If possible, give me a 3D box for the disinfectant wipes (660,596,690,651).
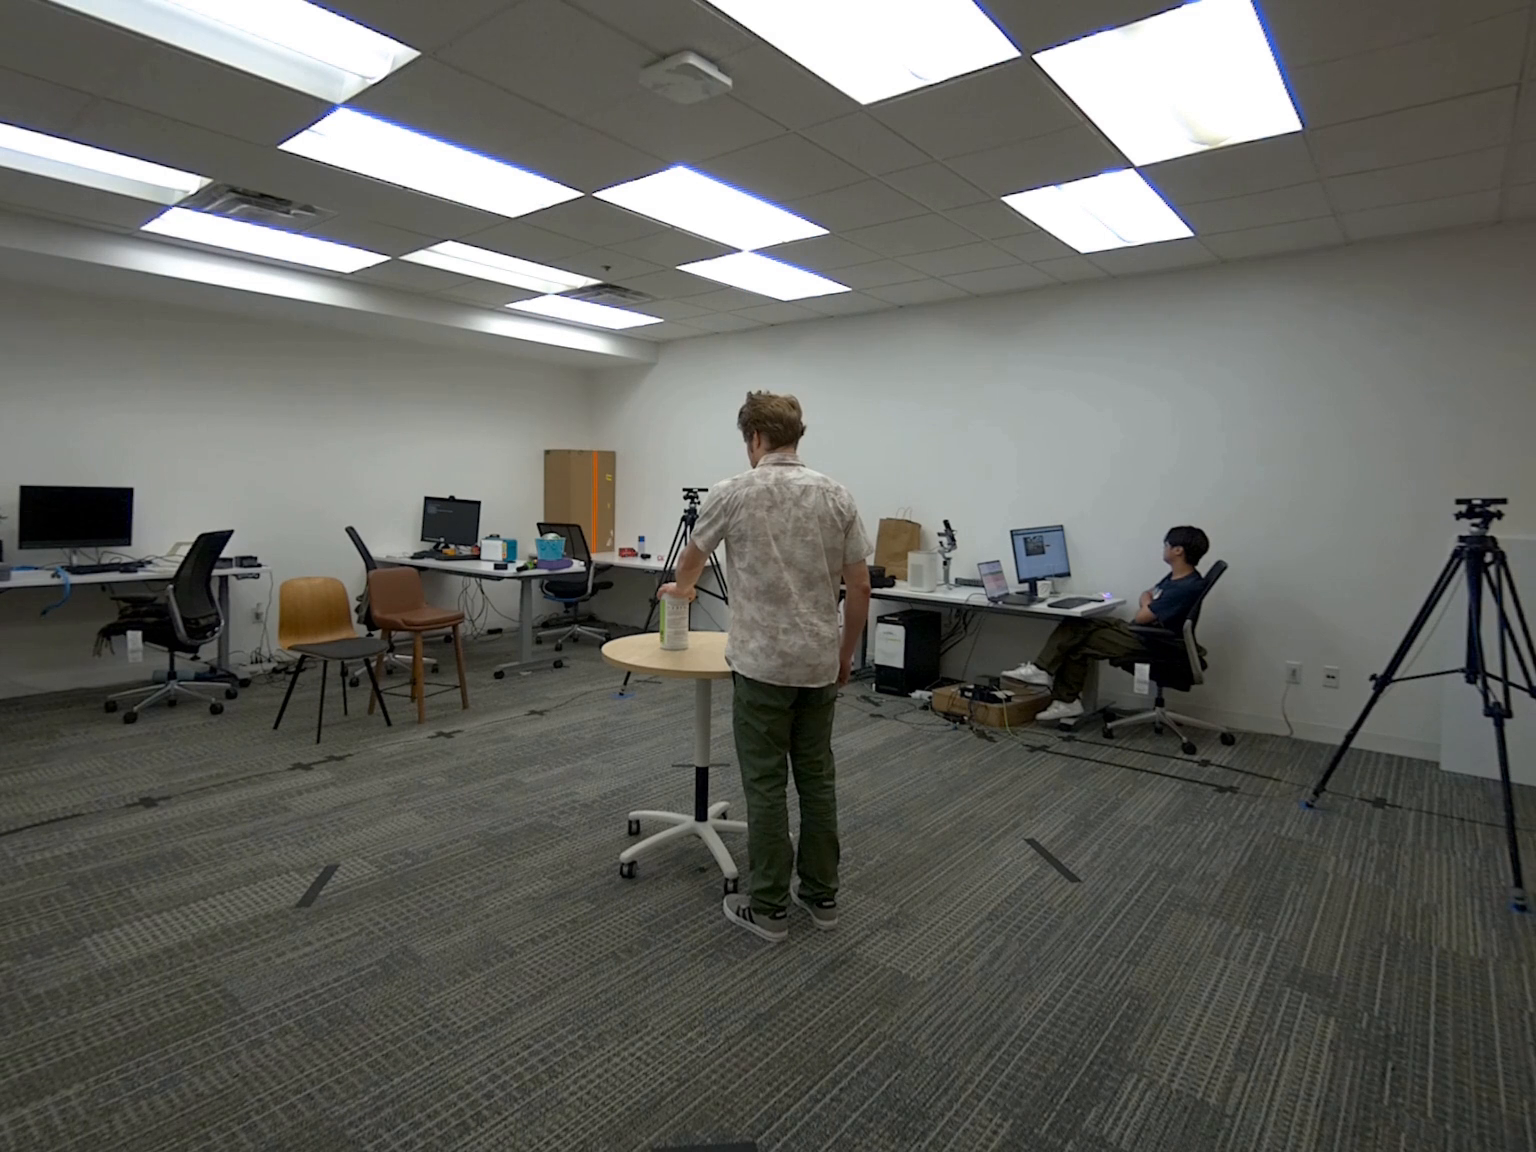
[{"bbox_3d":[-0.360,0.163,3.191,0.118,0.217,0.118,-1,2,-2],"label":"disinfectant wipes"}]
